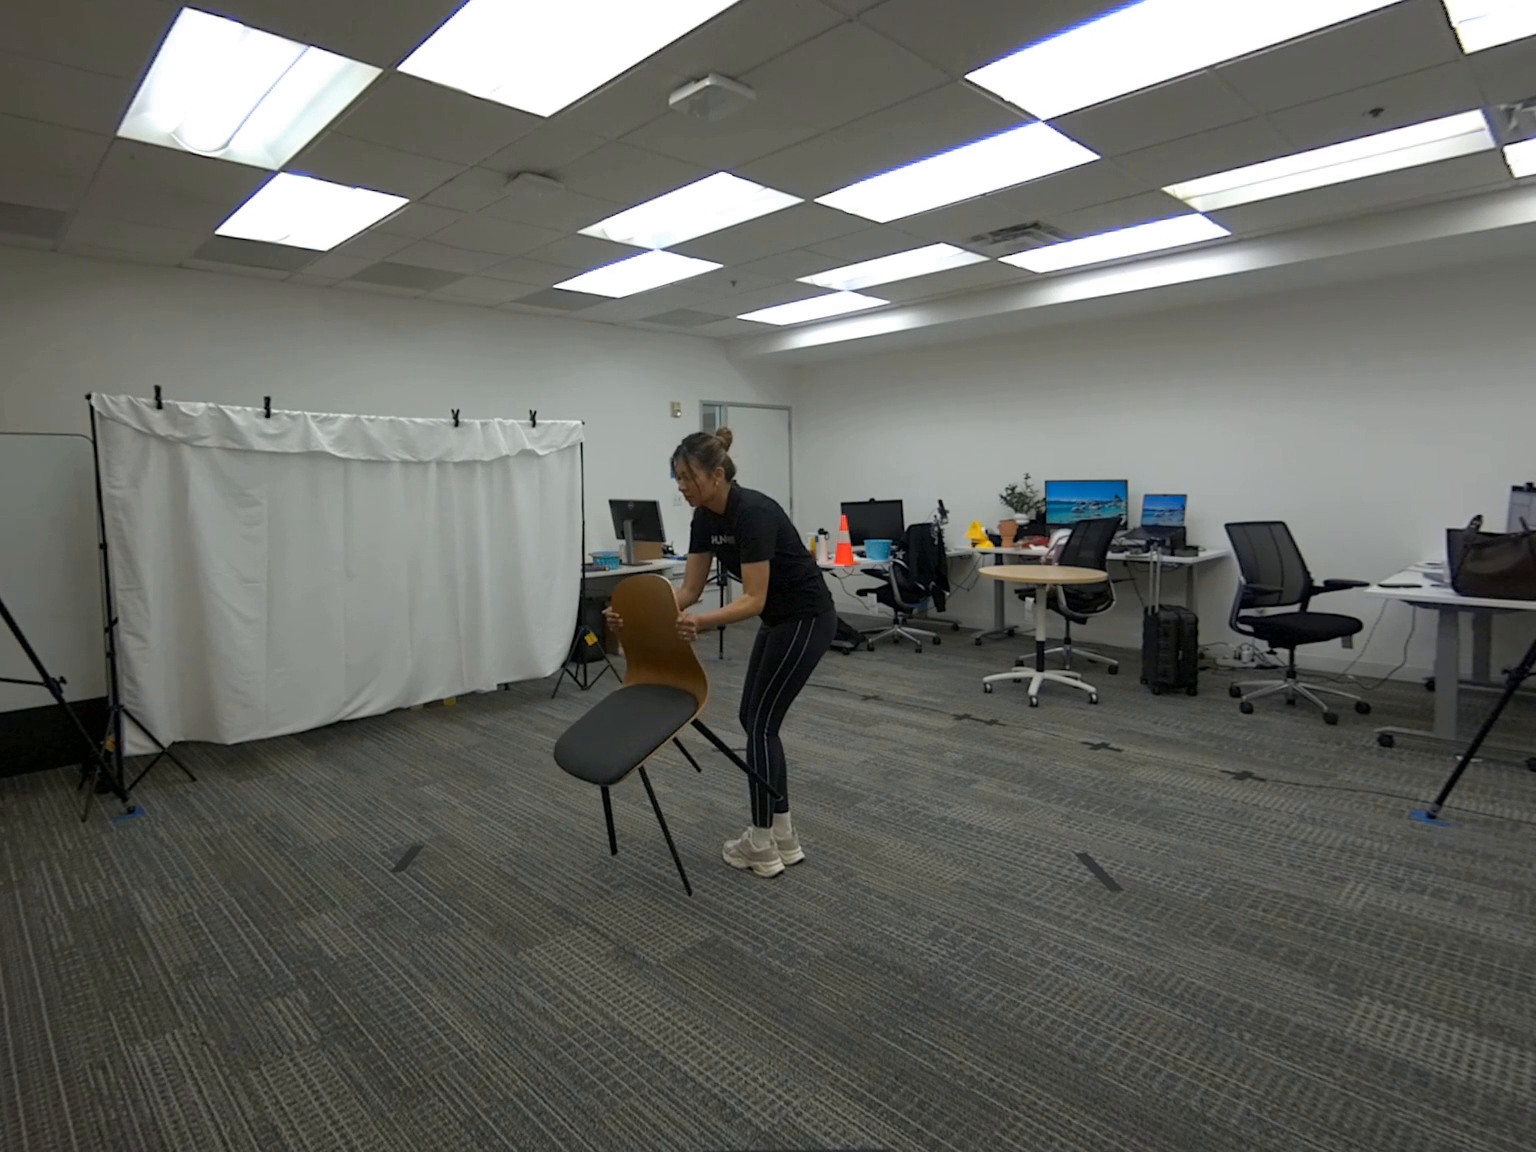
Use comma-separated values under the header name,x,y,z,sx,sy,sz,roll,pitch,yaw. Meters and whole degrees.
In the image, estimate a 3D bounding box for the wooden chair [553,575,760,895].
name,x,y,z,sx,sy,sz,roll,pitch,yaw
wooden chair,-0.410,0.501,2.780,0.518,0.860,0.492,-33,22,-35
